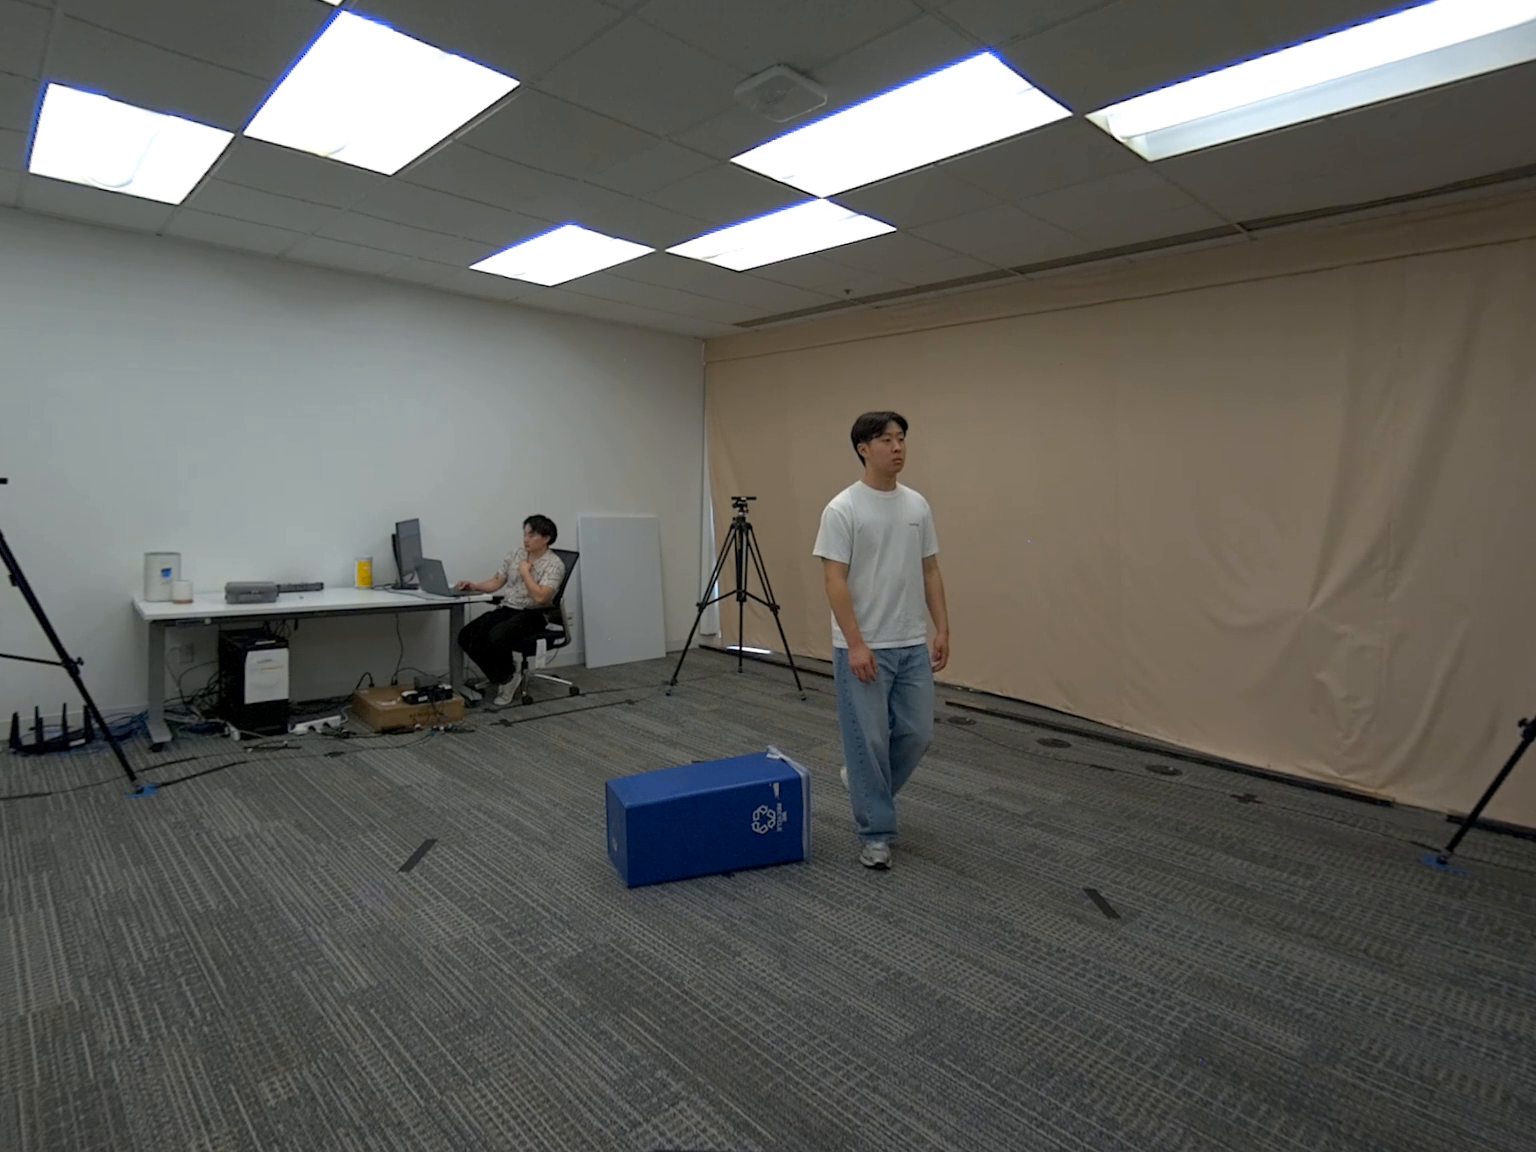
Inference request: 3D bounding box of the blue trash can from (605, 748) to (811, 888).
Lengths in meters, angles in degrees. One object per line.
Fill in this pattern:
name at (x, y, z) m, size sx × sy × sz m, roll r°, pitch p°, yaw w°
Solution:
blue trash can at (-0.238, 0.928, 3.226) m, size 0.702 × 0.377 × 0.381 m, roll -4°, pitch 6°, yaw -23°
